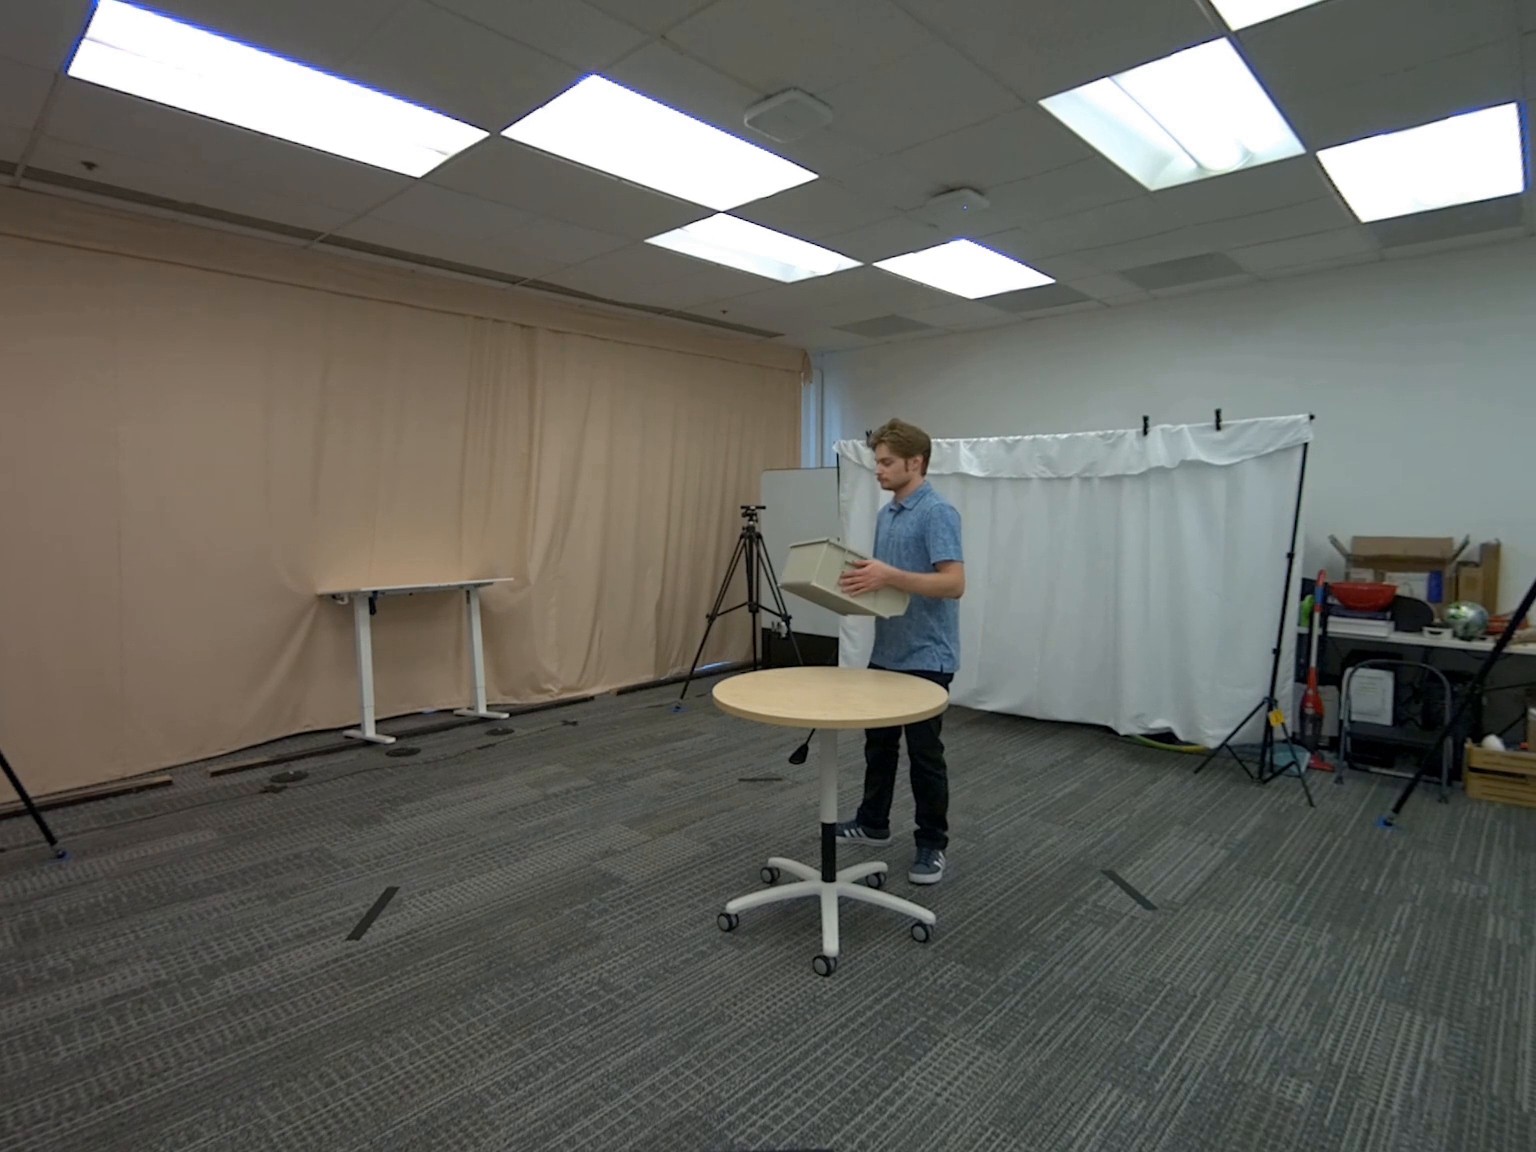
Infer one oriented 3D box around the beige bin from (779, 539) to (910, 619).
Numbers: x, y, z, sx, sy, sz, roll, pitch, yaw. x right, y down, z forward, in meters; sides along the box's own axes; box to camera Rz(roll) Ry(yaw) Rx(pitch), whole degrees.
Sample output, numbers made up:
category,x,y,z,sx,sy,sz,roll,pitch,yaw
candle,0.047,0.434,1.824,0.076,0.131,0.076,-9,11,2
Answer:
category,x,y,z,sx,sy,sz,roll,pitch,yaw
beige bin,0.287,0.029,3.201,0.371,0.189,0.428,24,-9,-14
